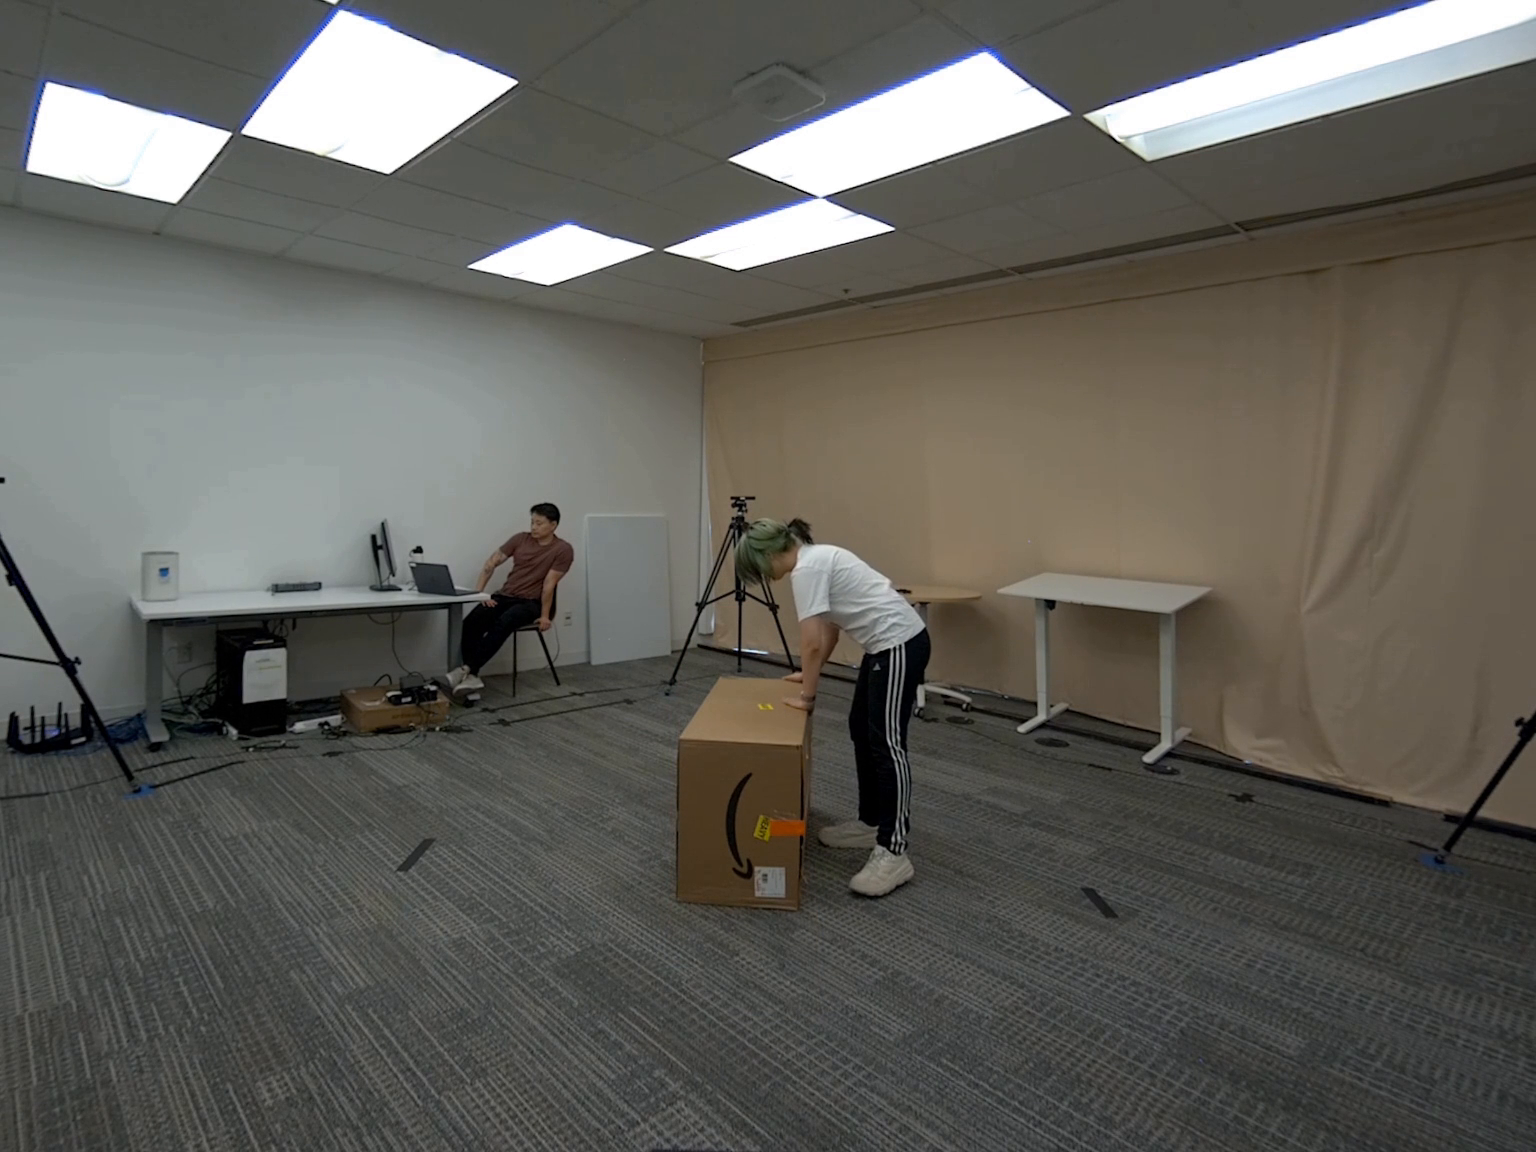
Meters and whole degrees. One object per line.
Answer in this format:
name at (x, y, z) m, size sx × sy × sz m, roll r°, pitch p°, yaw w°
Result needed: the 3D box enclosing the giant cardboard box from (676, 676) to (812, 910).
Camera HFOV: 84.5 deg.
giant cardboard box at (-0.063, 0.797, 3.350) m, size 0.428 × 0.576 × 1.024 m, roll 1°, pitch 5°, yaw 5°
